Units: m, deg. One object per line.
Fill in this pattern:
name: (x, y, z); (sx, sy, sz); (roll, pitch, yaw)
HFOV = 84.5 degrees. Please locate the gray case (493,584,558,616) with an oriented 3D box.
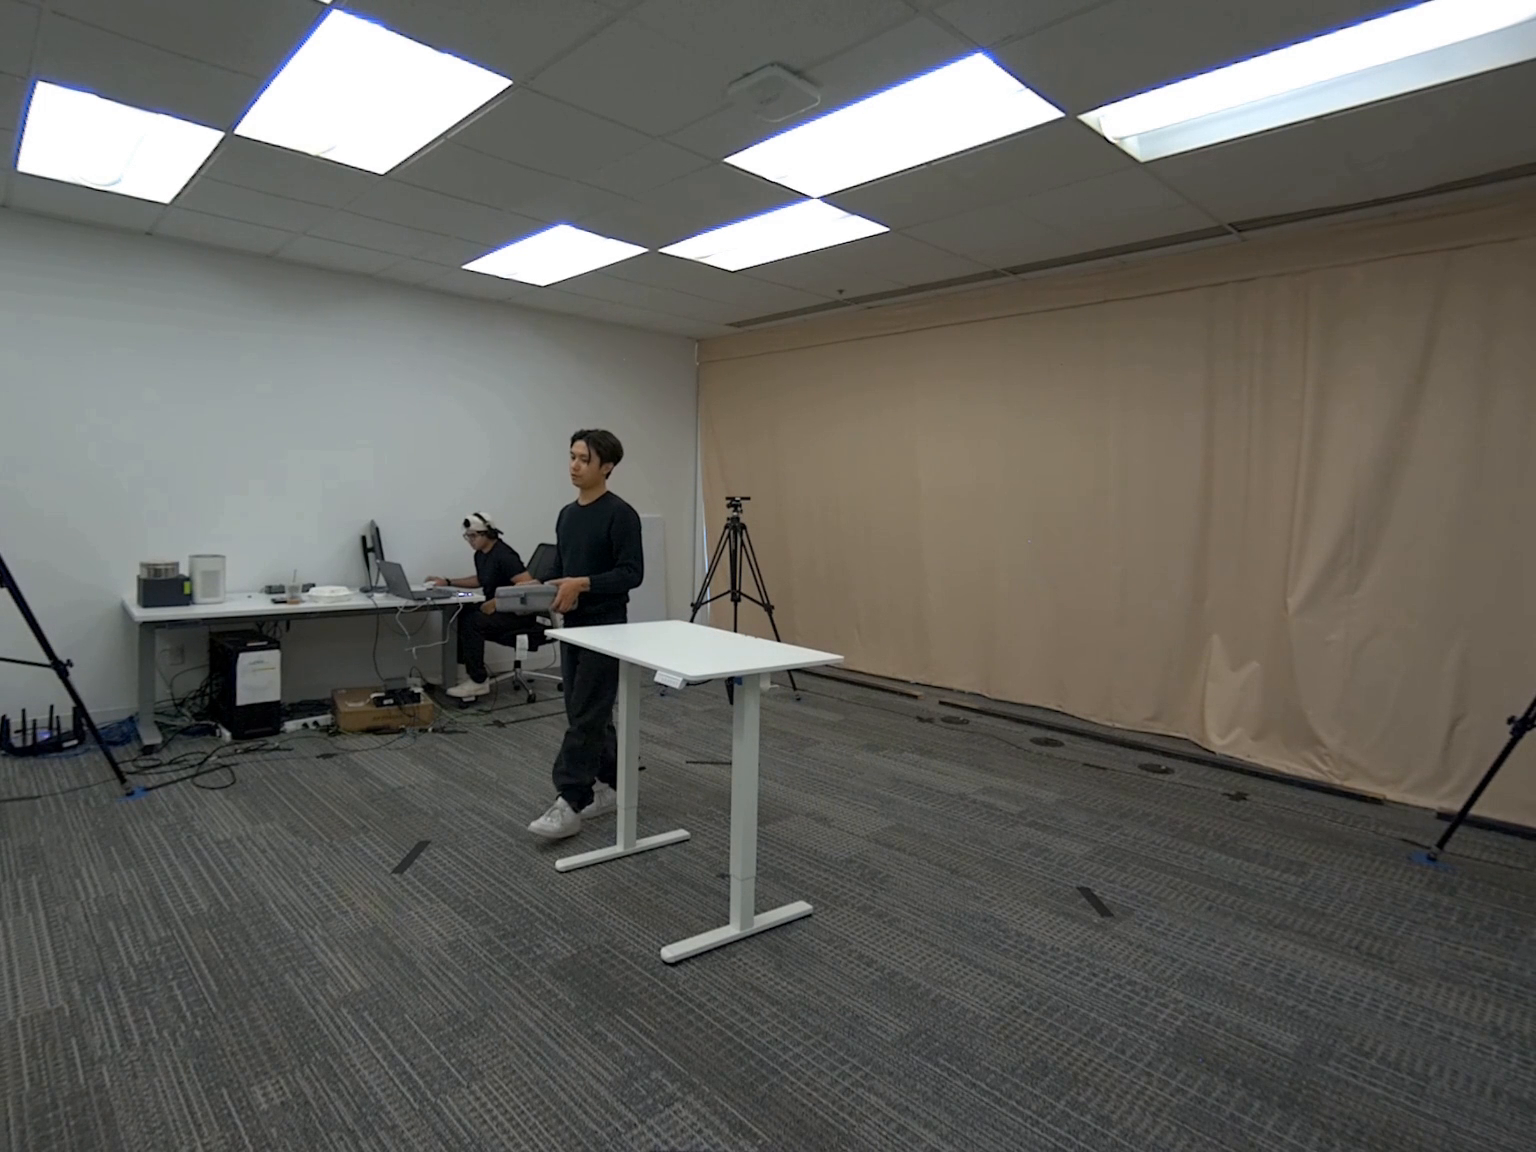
gray case: (-0.959, 0.088, 3.431); (0.262, 0.104, 0.254); (-5, -4, 39)
